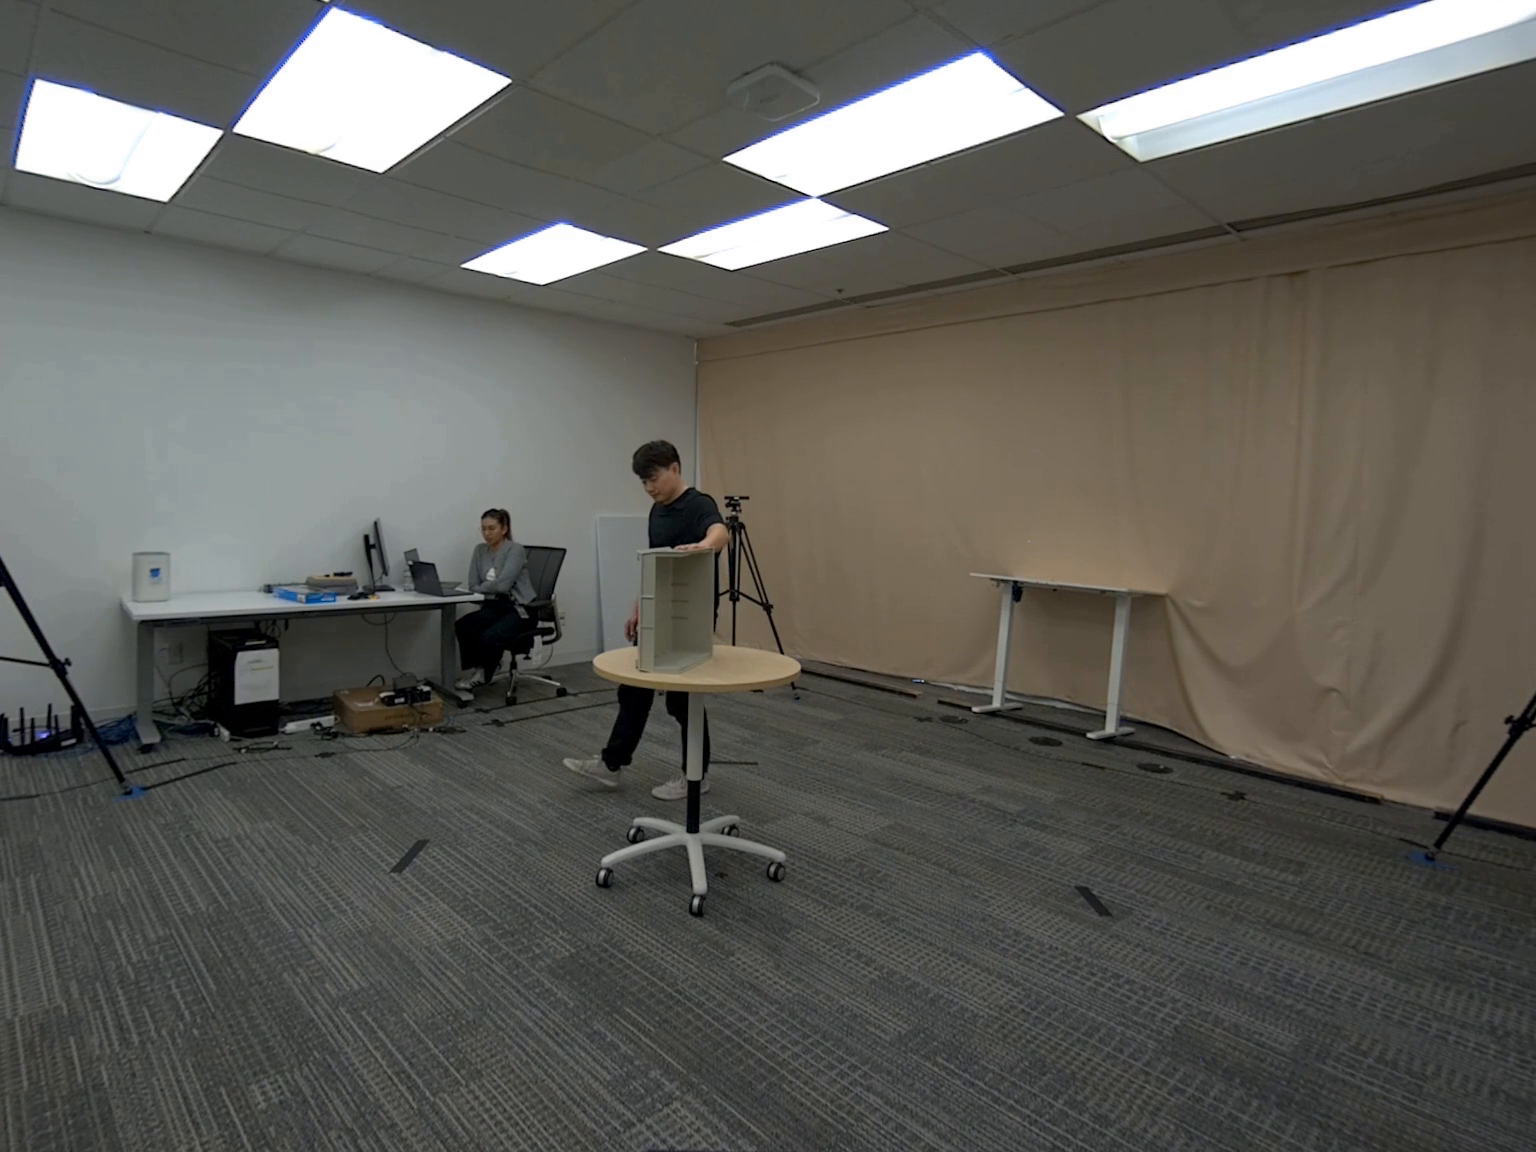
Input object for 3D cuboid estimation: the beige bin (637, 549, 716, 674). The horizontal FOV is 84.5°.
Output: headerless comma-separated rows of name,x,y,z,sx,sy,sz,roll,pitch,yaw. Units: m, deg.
beige bin,-0.348,0.112,3.047,0.191,0.421,0.373,2,4,16
